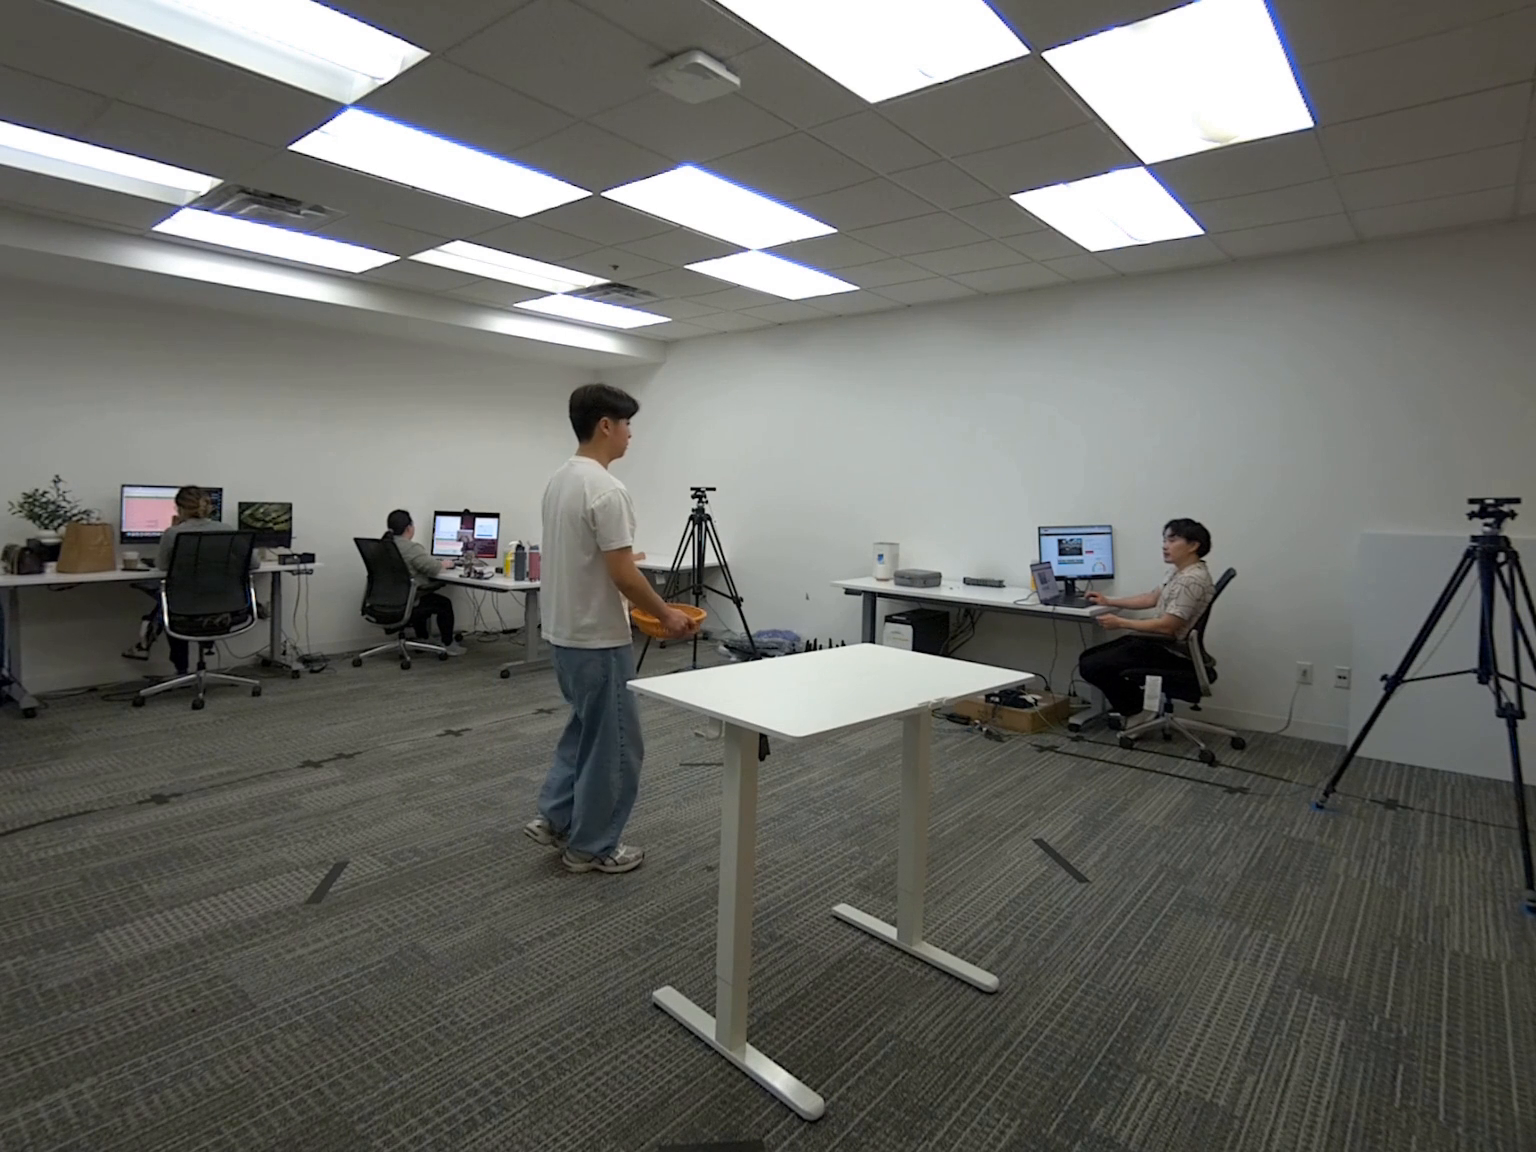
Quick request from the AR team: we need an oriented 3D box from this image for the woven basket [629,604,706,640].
[{"bbox_3d":[-0.415,0.173,3.175,0.246,0.073,0.362,-9,12,-34],"label":"woven basket"}]
